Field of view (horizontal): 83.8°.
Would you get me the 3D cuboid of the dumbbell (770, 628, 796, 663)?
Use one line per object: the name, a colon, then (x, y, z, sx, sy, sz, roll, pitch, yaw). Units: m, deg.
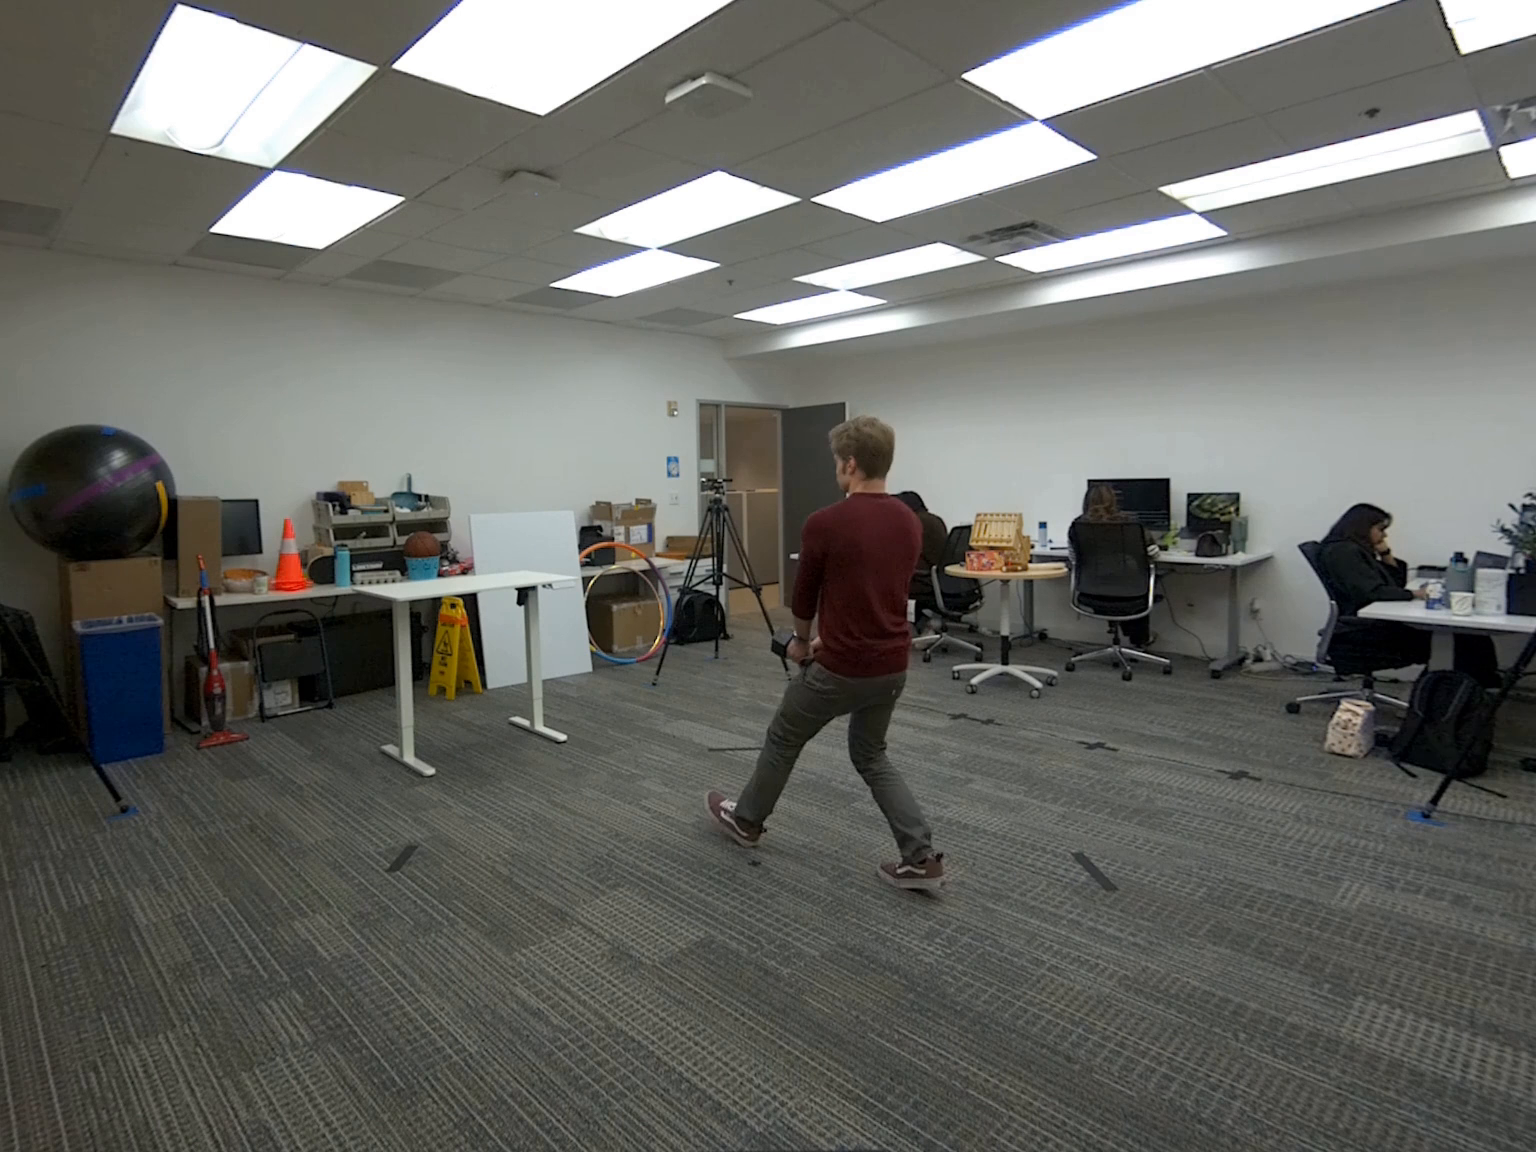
dumbbell: (0.151, 0.312, 3.247, 0.305, 0.105, 0.123, 29, 66, 37)
